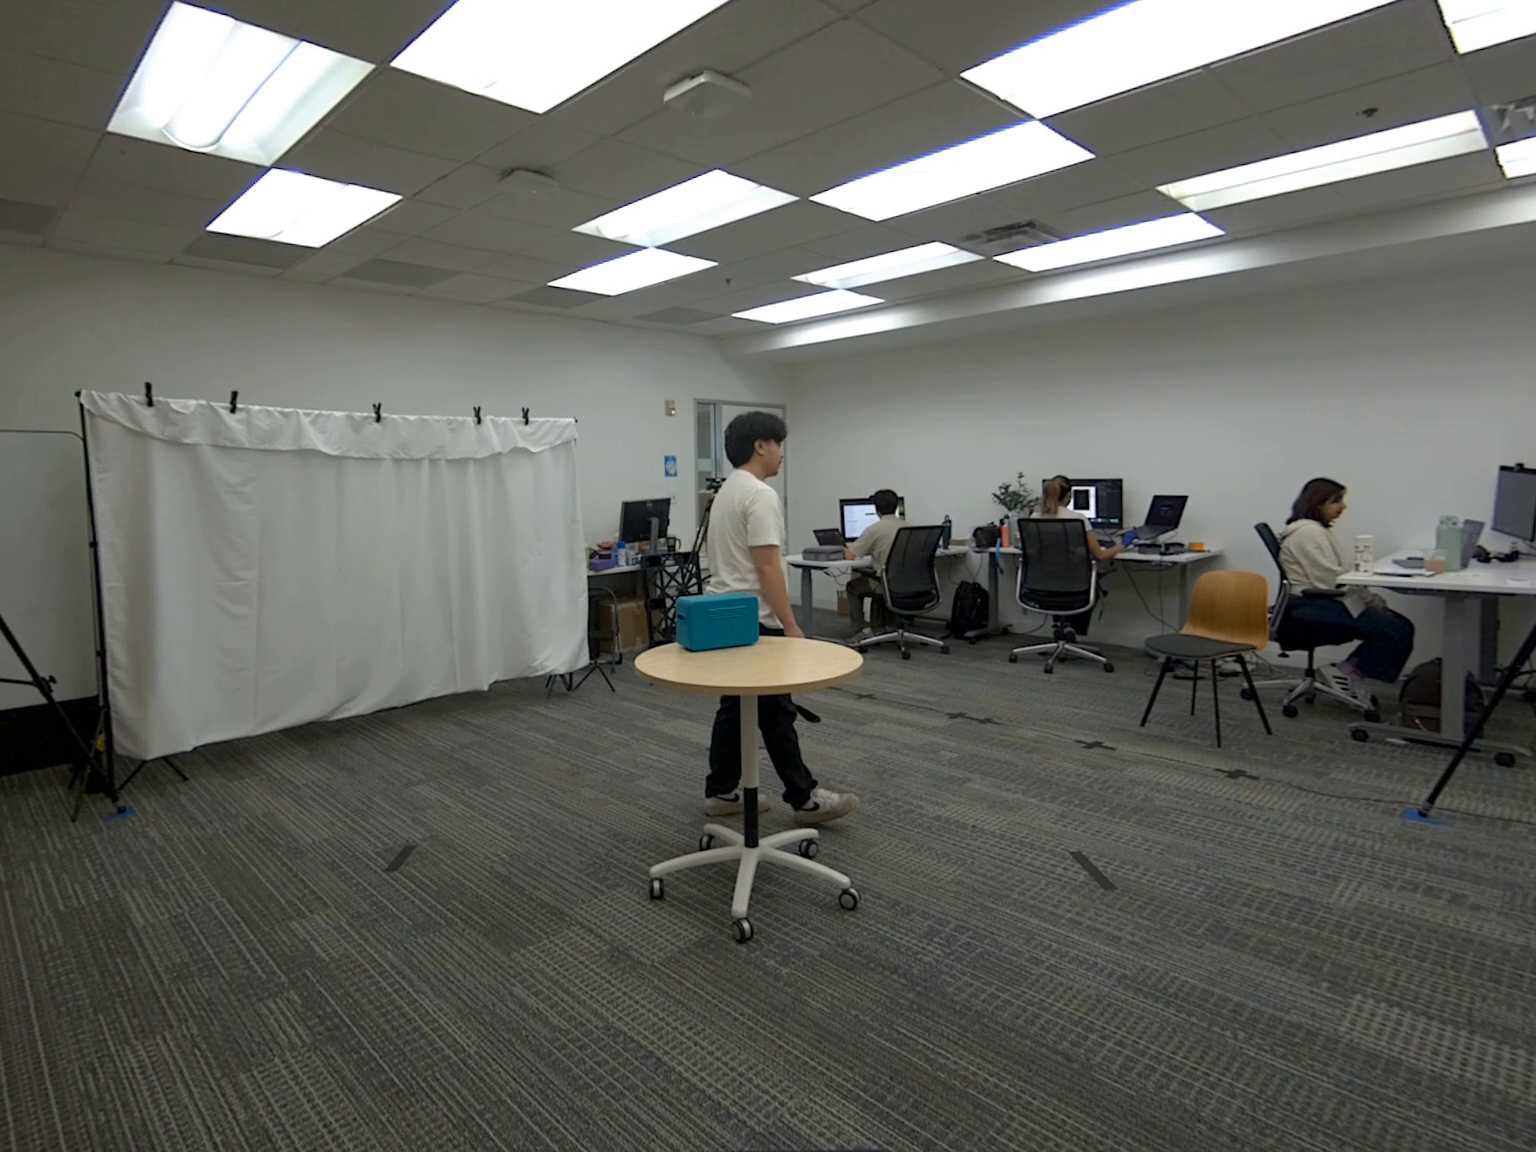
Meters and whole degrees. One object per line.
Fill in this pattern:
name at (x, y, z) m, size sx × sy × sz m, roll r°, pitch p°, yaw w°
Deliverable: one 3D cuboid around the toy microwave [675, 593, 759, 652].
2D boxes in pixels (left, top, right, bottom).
toy microwave at (-0.187, 0.162, 3.088) m, size 0.280 × 0.183 × 0.156 m, roll -4°, pitch 6°, yaw -27°
